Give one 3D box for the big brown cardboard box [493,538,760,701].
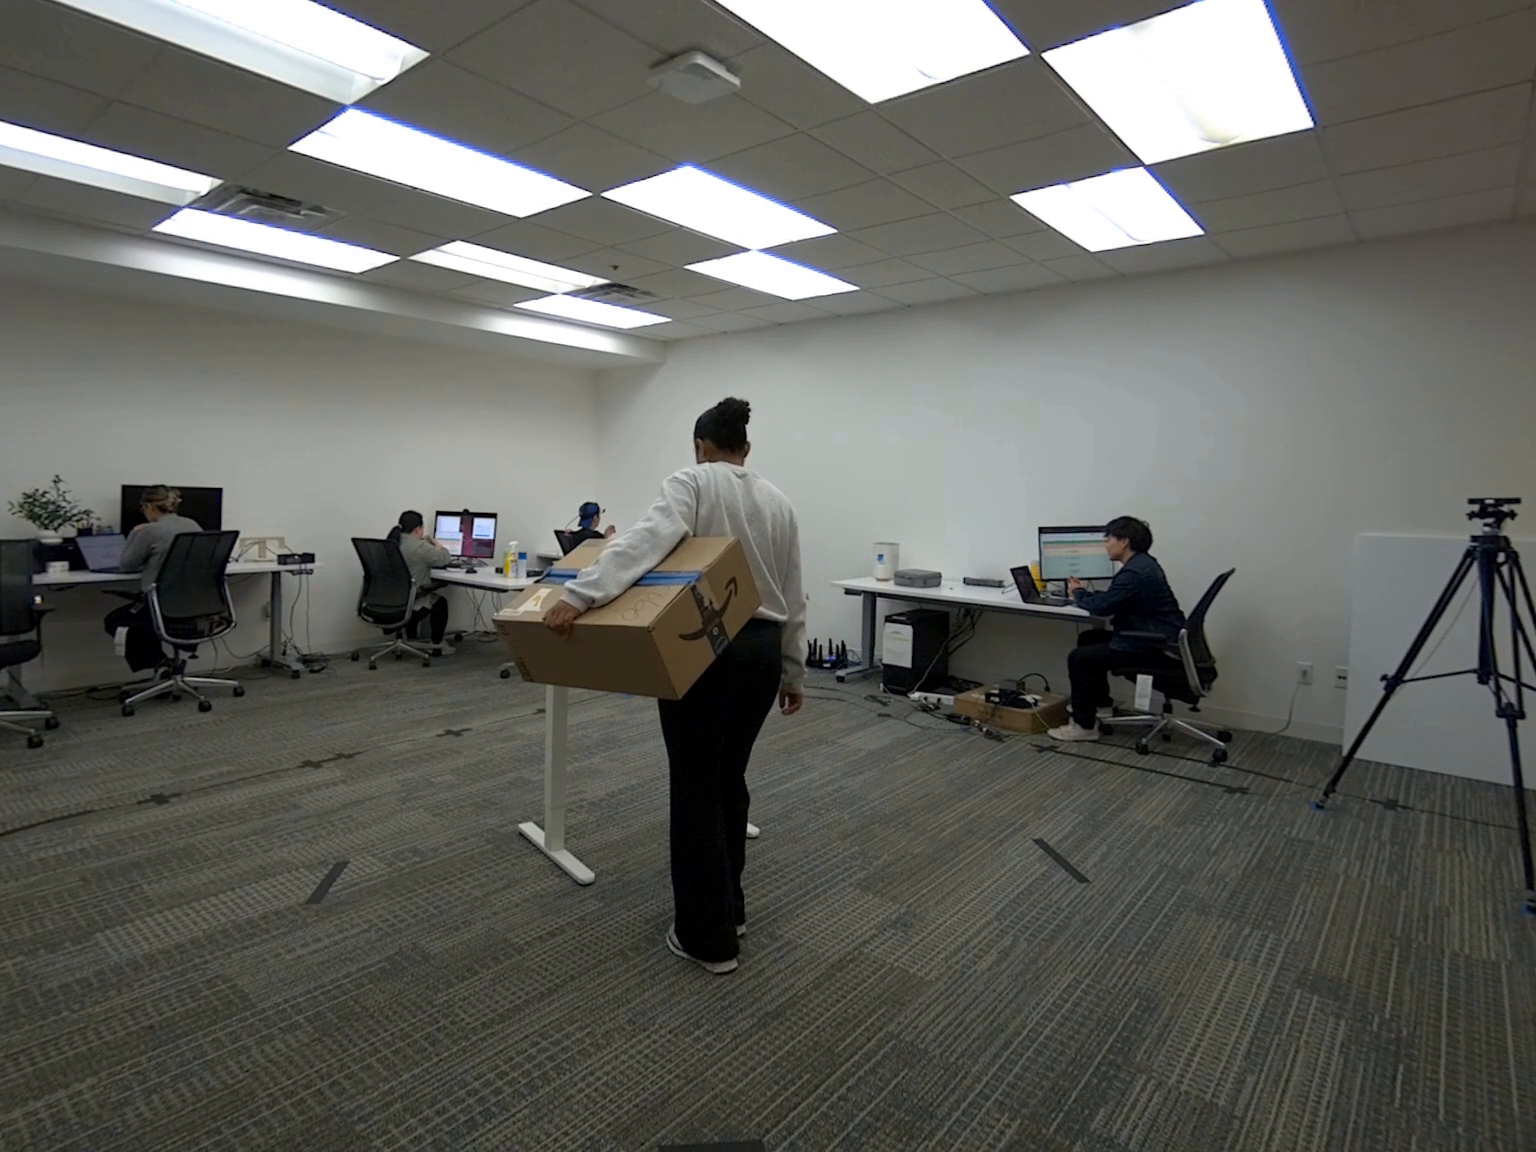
[{"bbox_3d":[-0.385,0.092,2.292,0.607,0.226,0.417,2,33,34],"label":"big brown cardboard box"}]
